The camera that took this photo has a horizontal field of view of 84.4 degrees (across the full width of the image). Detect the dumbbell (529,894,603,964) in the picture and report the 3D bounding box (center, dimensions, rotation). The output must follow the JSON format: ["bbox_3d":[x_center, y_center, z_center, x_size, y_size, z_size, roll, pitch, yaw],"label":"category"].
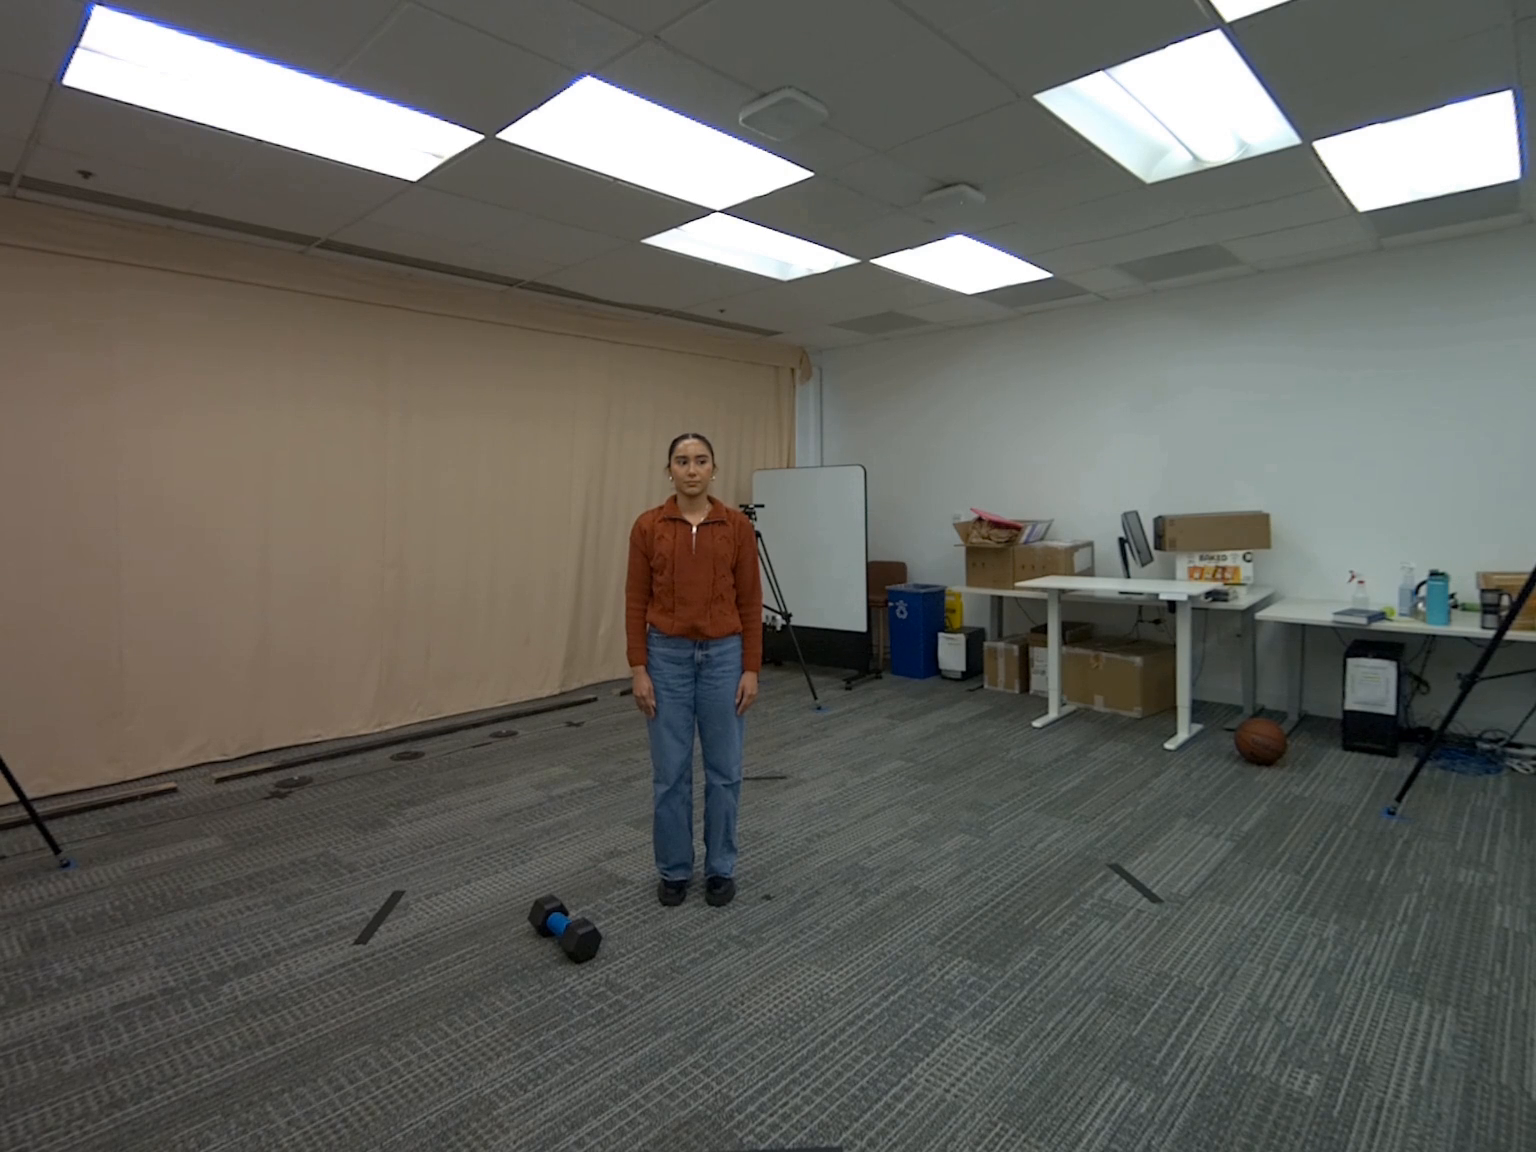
[{"bbox_3d":[-0.651,1.125,2.689,0.303,0.123,0.105,4,-24,48],"label":"dumbbell"}]
